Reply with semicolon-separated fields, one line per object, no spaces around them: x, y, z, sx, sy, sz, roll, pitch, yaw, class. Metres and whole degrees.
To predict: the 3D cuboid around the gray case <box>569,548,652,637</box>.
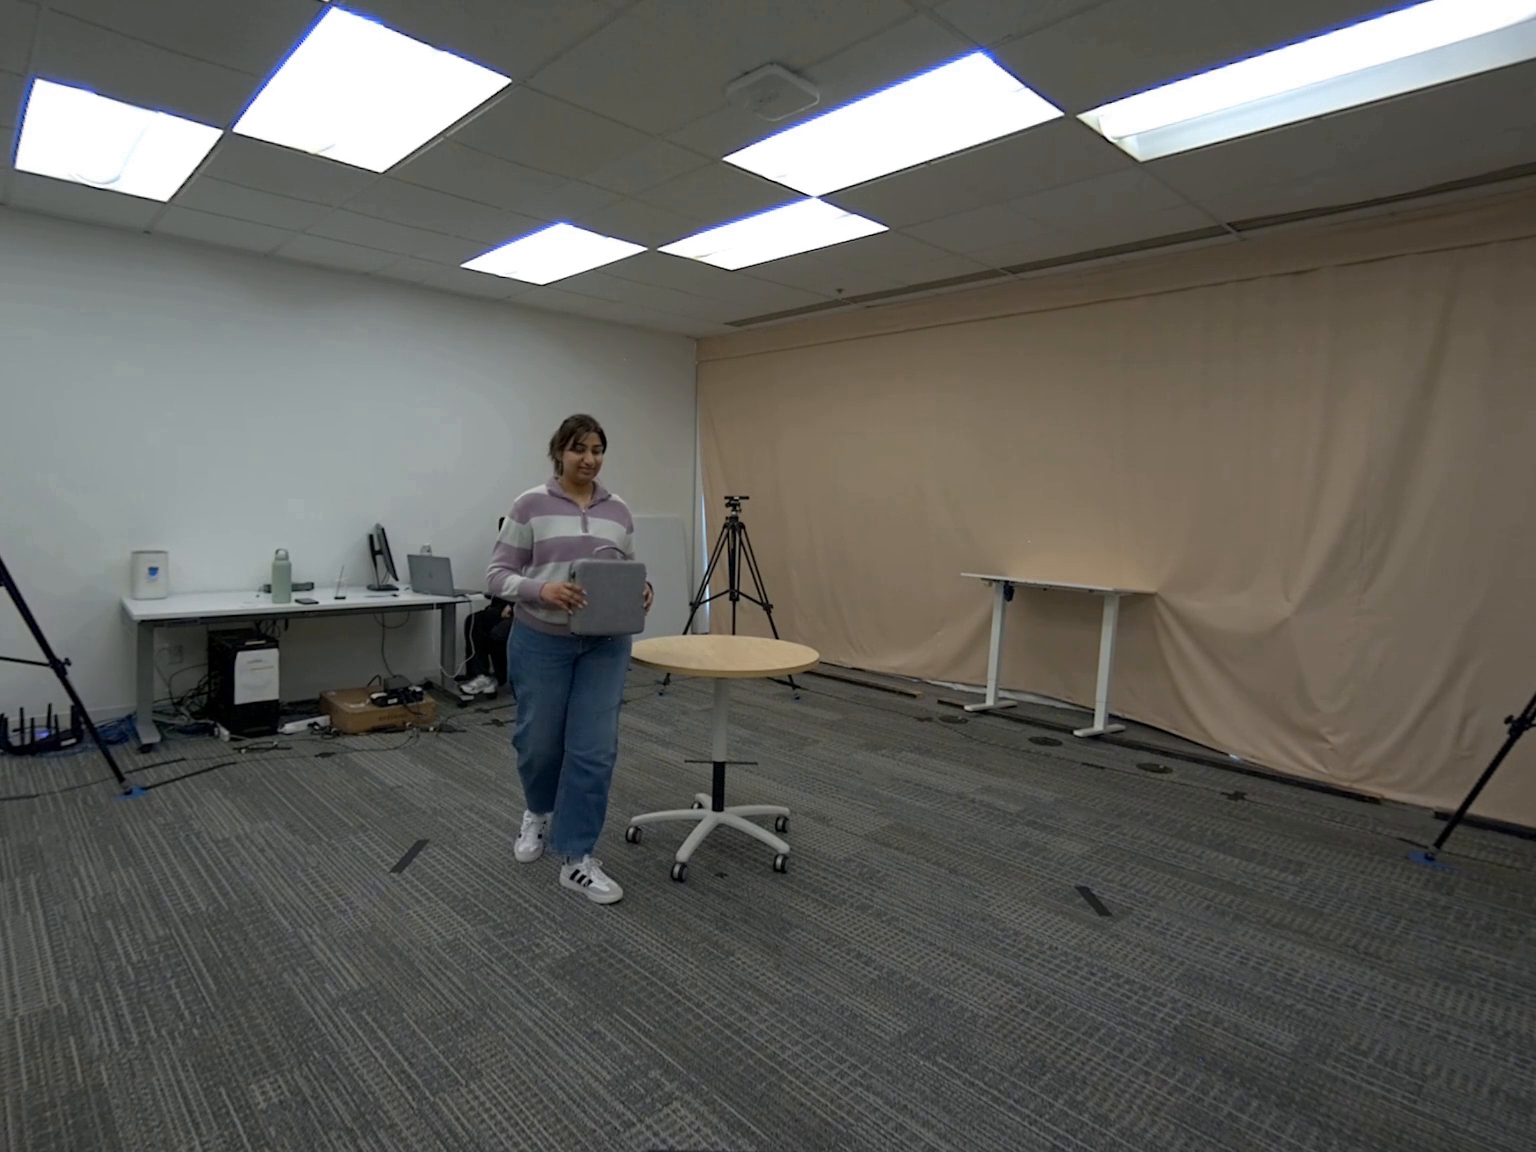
-0.553;0.068;2.811;0.252;0.260;0.106;0;1;-29;gray case
